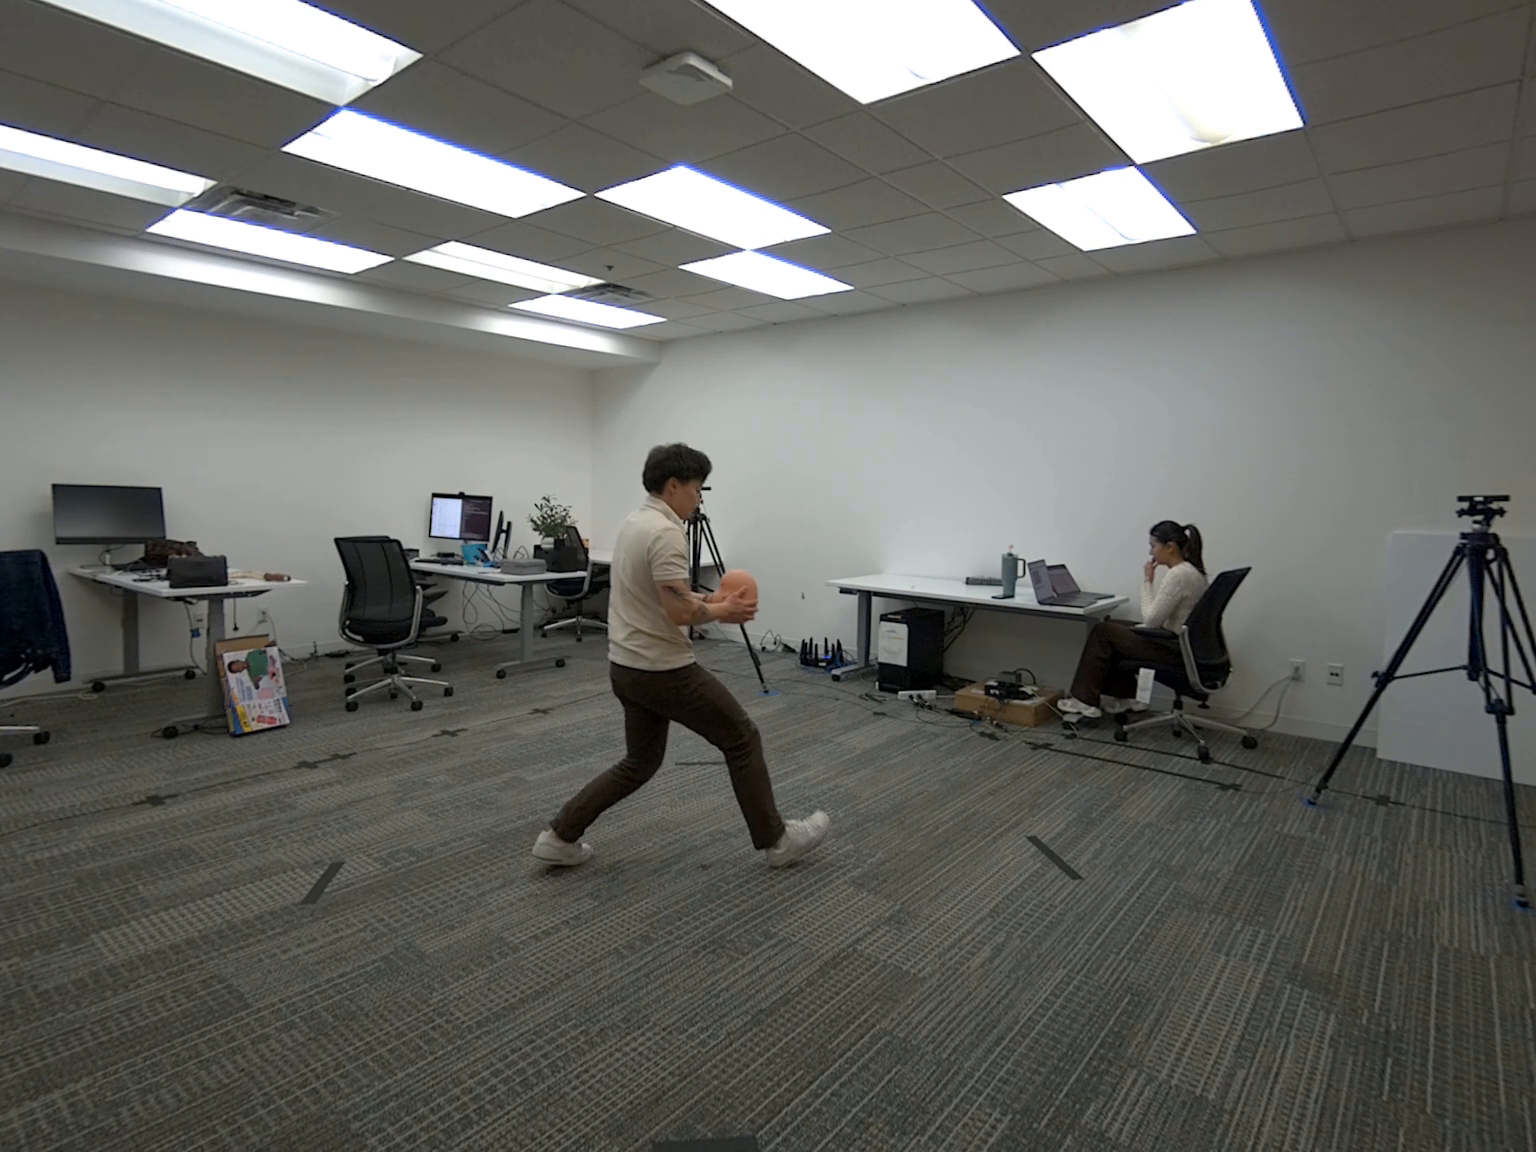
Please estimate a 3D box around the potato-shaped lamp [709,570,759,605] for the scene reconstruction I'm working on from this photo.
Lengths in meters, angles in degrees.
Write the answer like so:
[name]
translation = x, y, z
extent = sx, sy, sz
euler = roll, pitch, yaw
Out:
[potato-shaped lamp]
translation = -0.132, 0.076, 3.175
extent = 0.171, 0.197, 0.166
euler = 9, 8, -5
